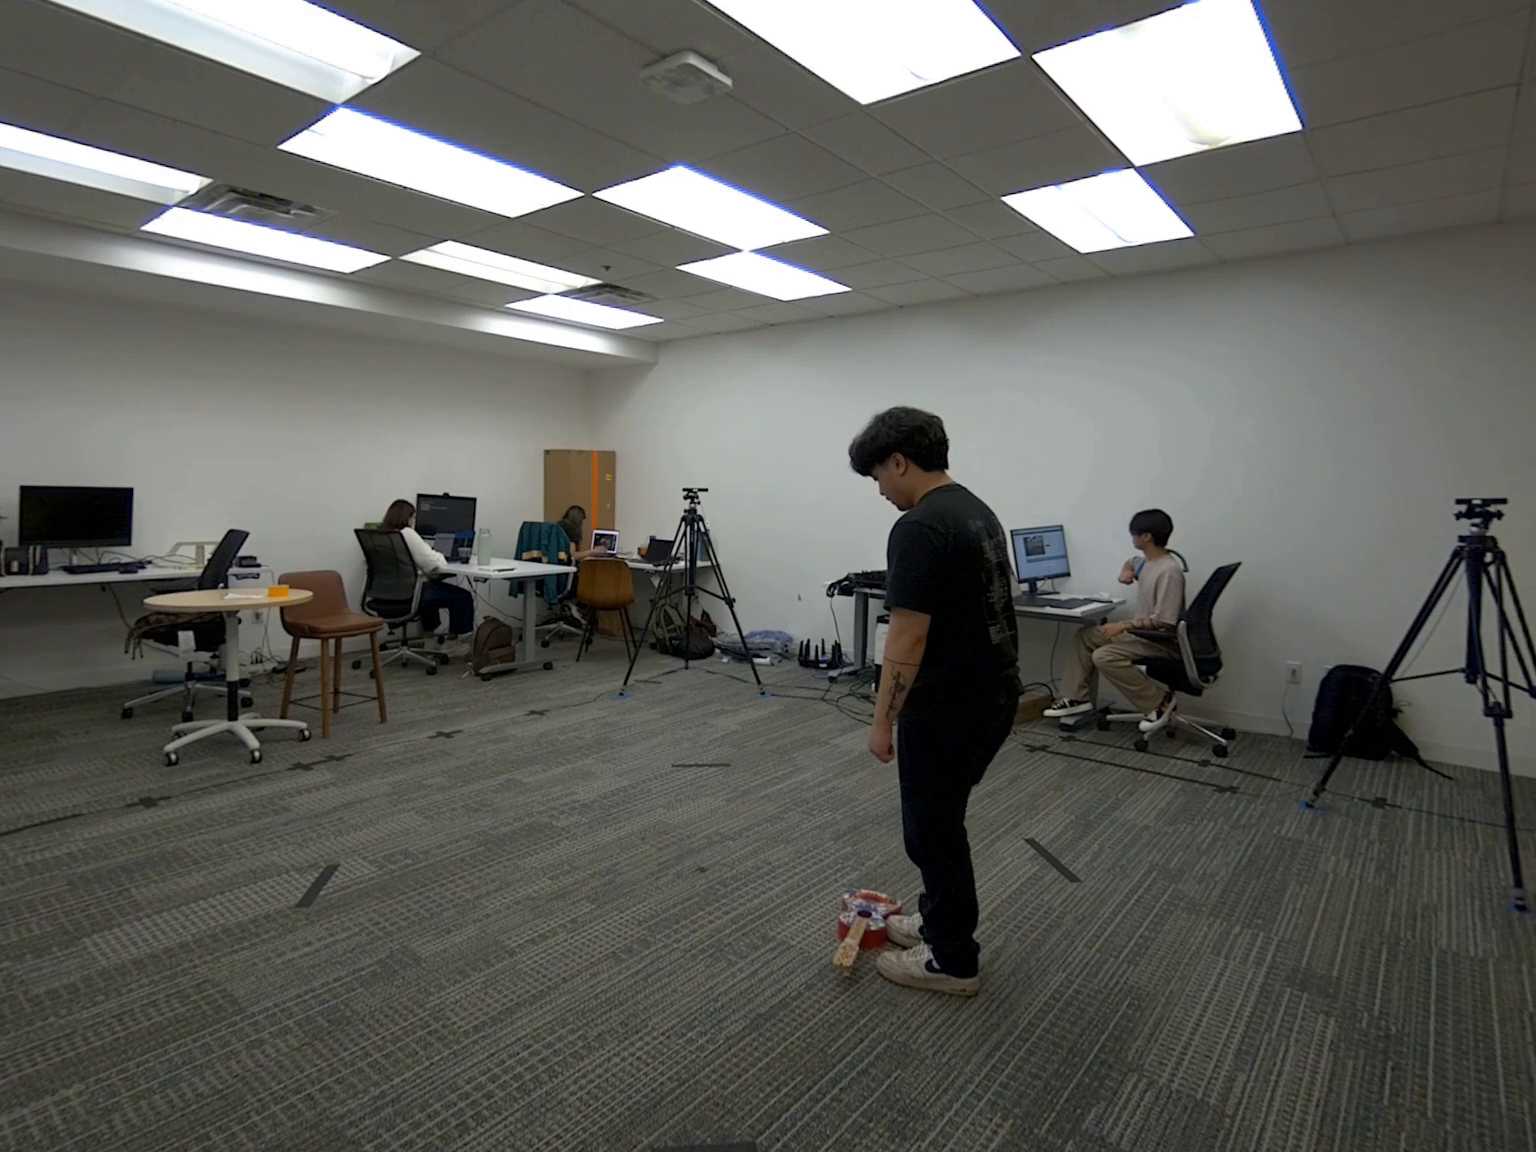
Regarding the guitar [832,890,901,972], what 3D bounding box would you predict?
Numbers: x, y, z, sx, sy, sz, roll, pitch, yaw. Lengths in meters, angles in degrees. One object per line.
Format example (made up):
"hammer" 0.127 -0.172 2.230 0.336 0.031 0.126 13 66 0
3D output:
"guitar" 0.245 1.091 2.629 0.198 0.070 0.485 4 6 28
